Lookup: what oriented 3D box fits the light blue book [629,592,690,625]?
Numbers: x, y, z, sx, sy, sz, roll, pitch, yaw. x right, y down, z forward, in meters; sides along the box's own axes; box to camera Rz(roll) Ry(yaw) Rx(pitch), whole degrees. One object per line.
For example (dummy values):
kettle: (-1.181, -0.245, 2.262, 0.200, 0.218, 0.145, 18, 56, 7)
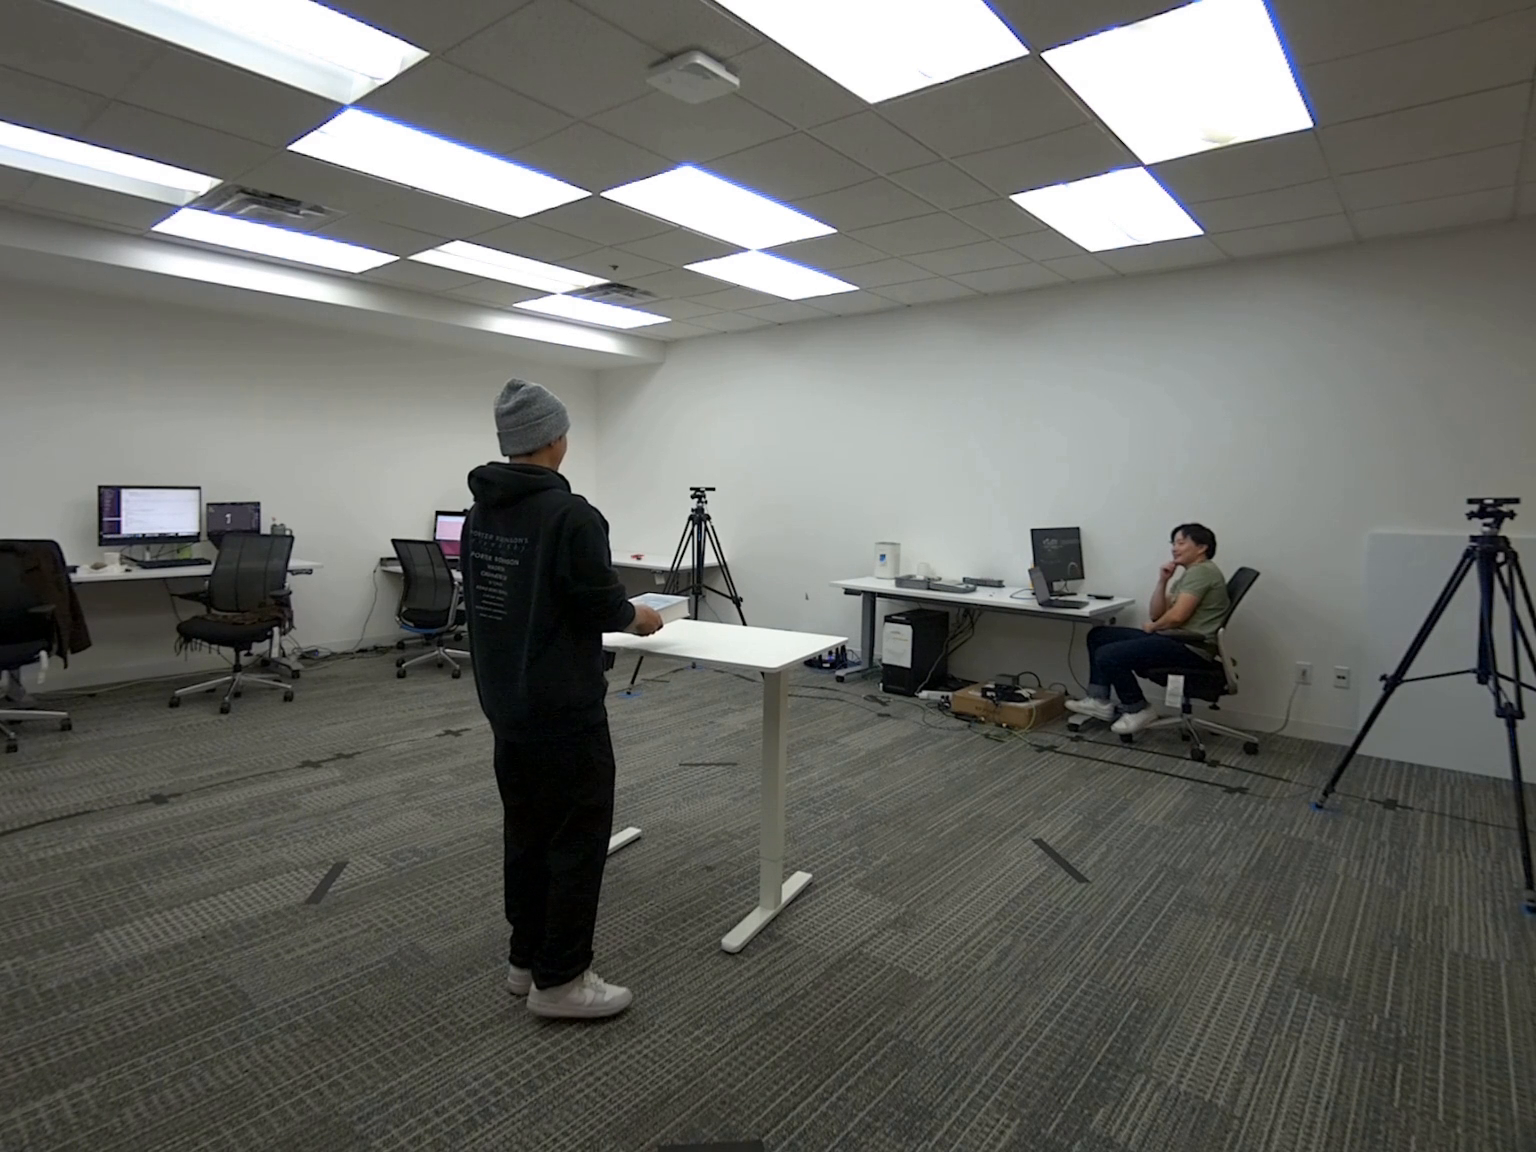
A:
light blue book: (-0.409, 0.123, 2.681, 0.197, 0.058, 0.256, 2, 14, 33)
